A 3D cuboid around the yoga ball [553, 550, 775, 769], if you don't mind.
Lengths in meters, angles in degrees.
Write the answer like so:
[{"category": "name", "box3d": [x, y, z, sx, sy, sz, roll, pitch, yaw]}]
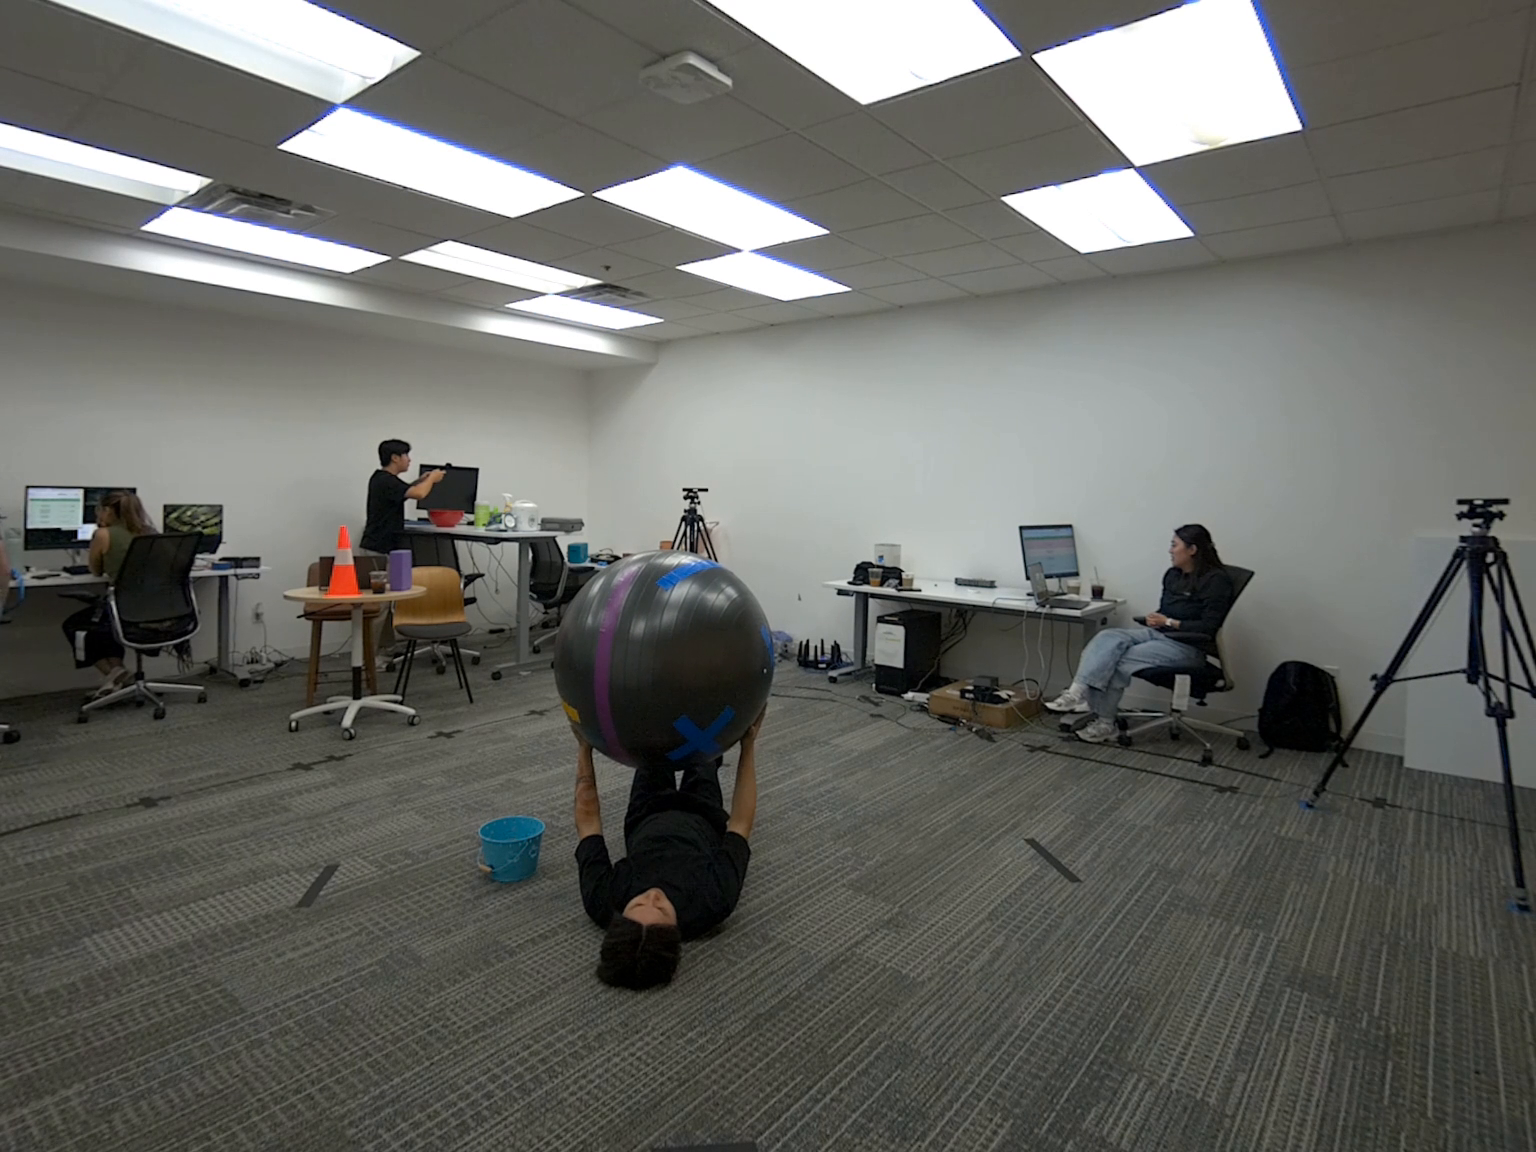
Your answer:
[{"category": "yoga ball", "box3d": [-0.364, 0.292, 2.947, 0.757, 0.755, 0.762, 1, 4, -2]}]
